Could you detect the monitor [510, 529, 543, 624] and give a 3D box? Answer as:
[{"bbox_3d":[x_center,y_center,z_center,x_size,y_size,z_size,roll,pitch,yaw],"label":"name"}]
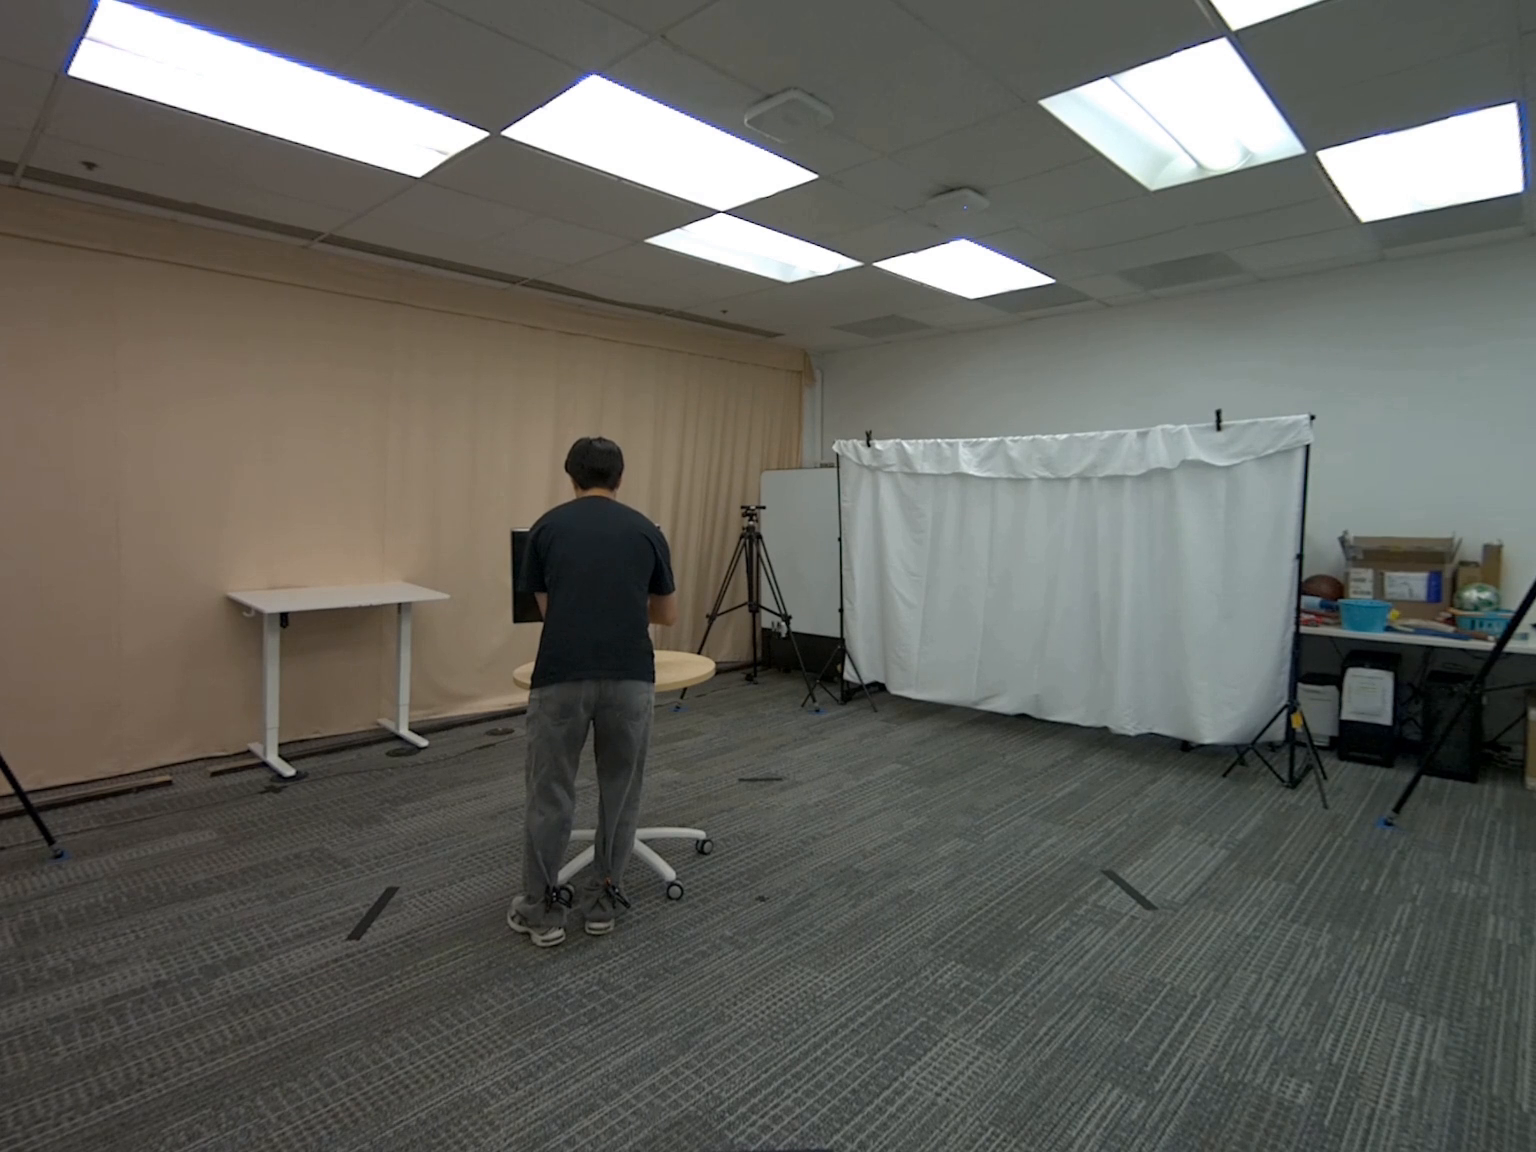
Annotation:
[{"bbox_3d":[-0.679,0.092,3.150,0.553,0.566,0.225,-2,1,-14],"label":"monitor"}]
